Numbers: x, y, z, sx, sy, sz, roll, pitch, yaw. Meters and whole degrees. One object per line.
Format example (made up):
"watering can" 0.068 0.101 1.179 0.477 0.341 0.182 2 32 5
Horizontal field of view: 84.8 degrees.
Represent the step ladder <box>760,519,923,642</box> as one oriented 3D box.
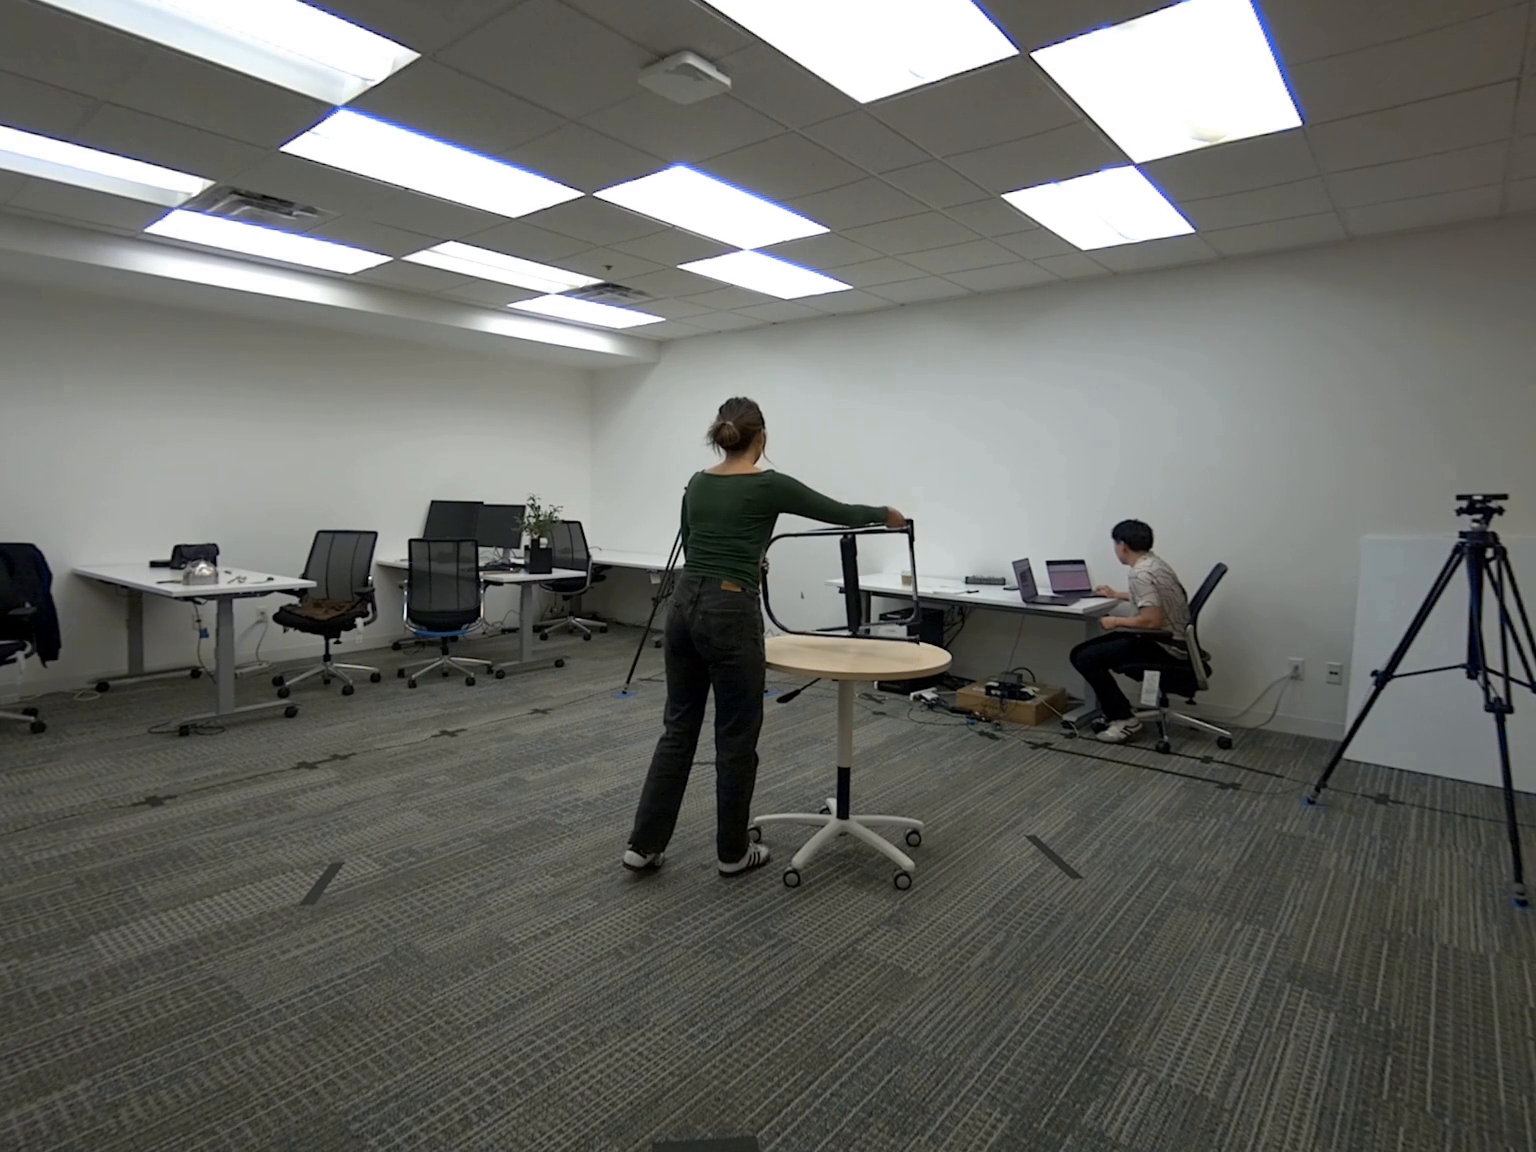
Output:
"step ladder" 0.248 0.021 3.242 0.615 0.428 0.346 -4 6 14
